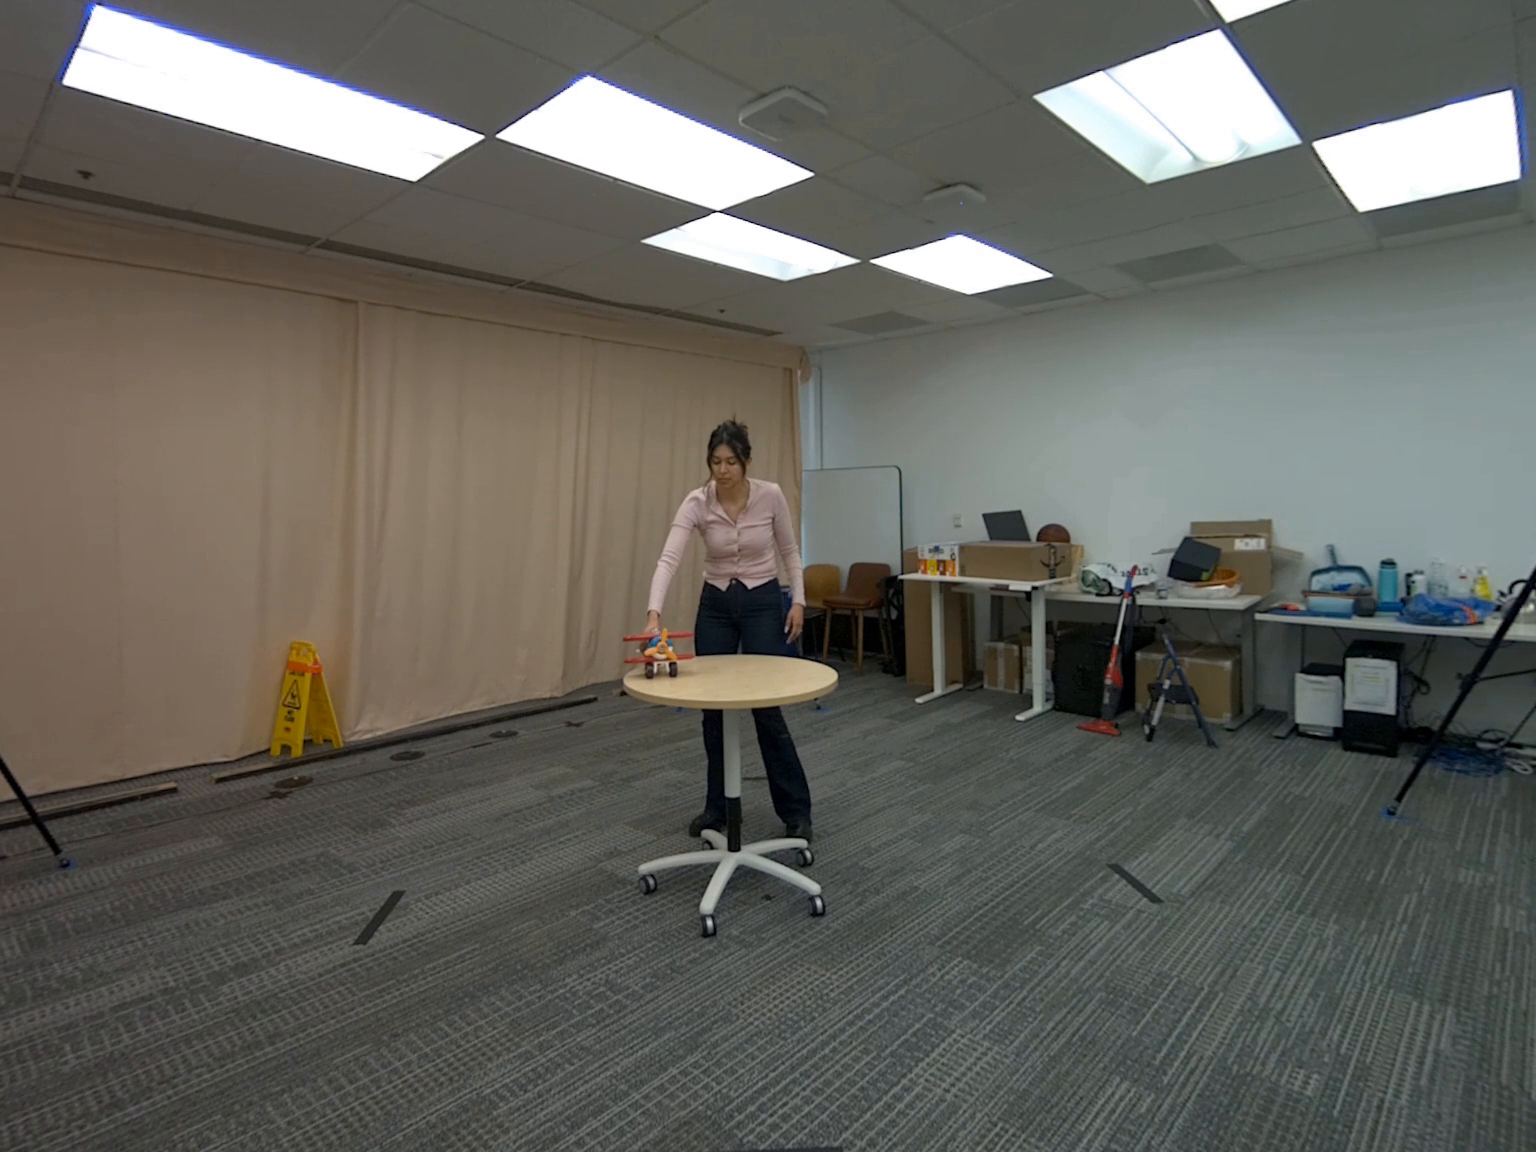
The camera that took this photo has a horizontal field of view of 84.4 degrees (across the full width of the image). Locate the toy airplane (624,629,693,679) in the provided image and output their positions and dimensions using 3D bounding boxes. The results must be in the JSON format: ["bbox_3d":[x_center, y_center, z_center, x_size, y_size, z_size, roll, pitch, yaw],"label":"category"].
[{"bbox_3d":[-0.418,0.273,3.079,0.244,0.155,0.268,-8,11,-39],"label":"toy airplane"}]
